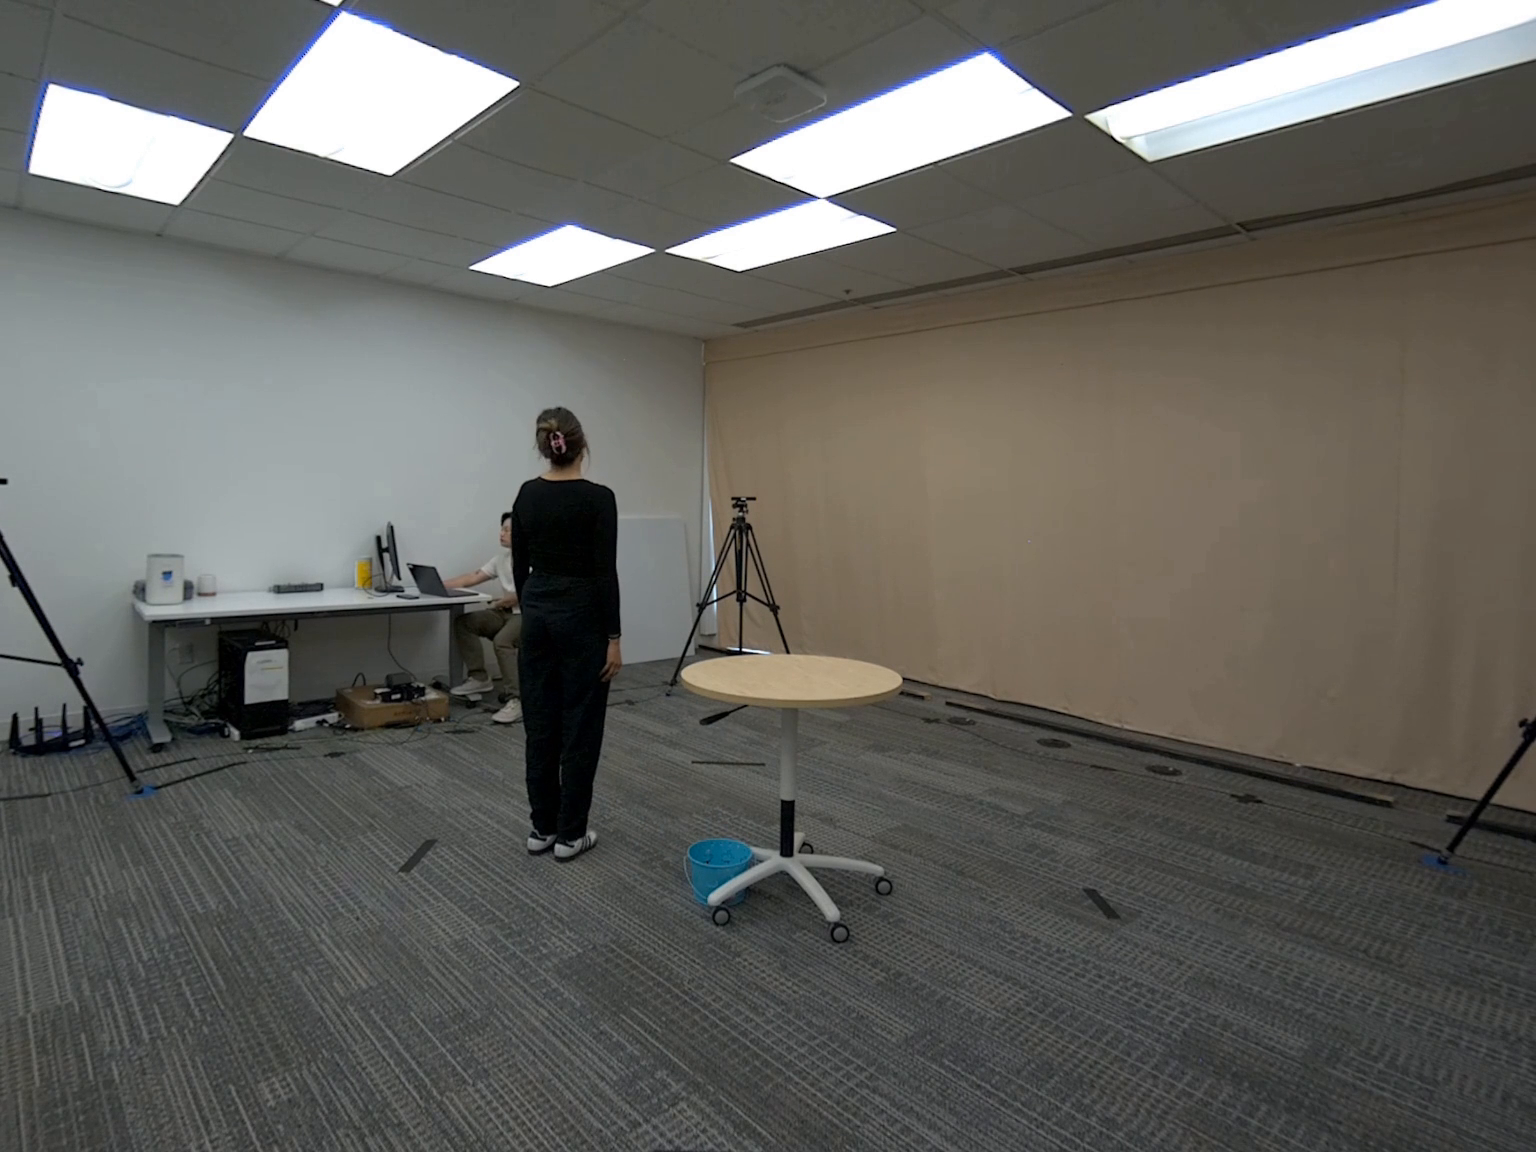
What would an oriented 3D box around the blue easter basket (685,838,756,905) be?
[{"bbox_3d":[-0.175,1.047,2.948,0.243,0.155,0.244,0,5,-1],"label":"blue easter basket"}]
